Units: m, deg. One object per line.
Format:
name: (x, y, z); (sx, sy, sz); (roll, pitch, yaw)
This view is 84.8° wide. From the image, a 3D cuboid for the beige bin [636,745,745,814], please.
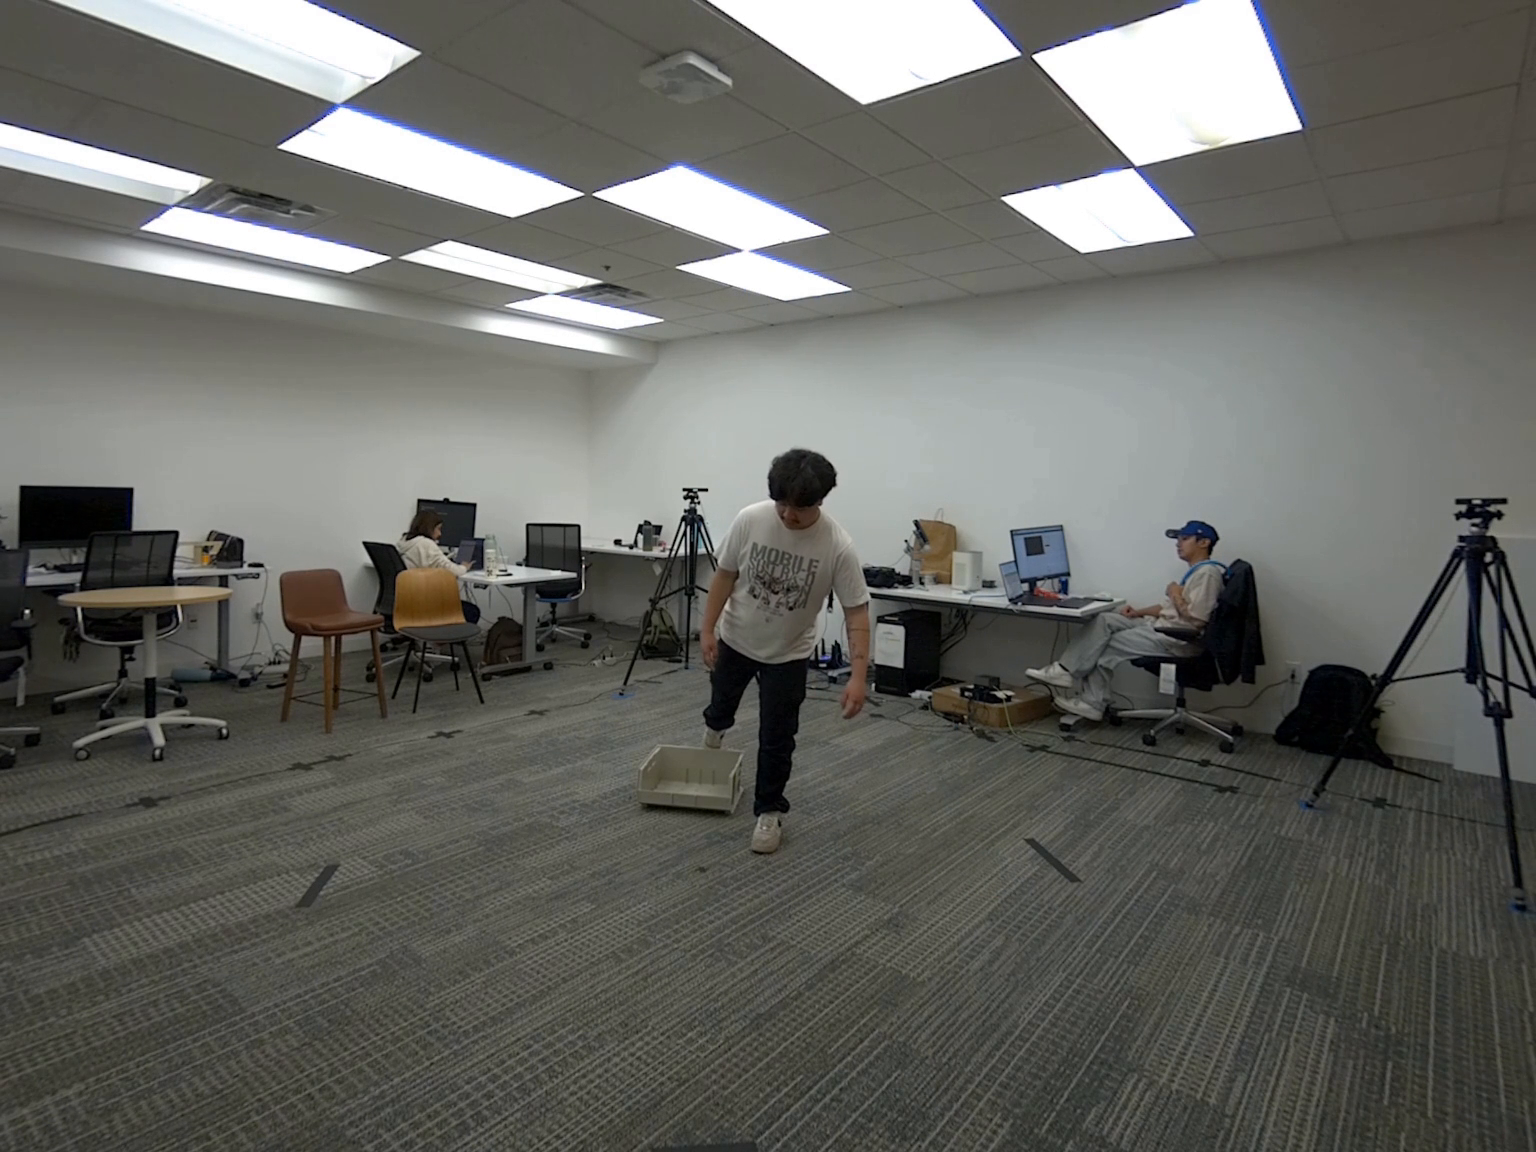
beige bin: (-0.350, 0.910, 3.811); (0.427, 0.188, 0.375); (1, 4, 8)
